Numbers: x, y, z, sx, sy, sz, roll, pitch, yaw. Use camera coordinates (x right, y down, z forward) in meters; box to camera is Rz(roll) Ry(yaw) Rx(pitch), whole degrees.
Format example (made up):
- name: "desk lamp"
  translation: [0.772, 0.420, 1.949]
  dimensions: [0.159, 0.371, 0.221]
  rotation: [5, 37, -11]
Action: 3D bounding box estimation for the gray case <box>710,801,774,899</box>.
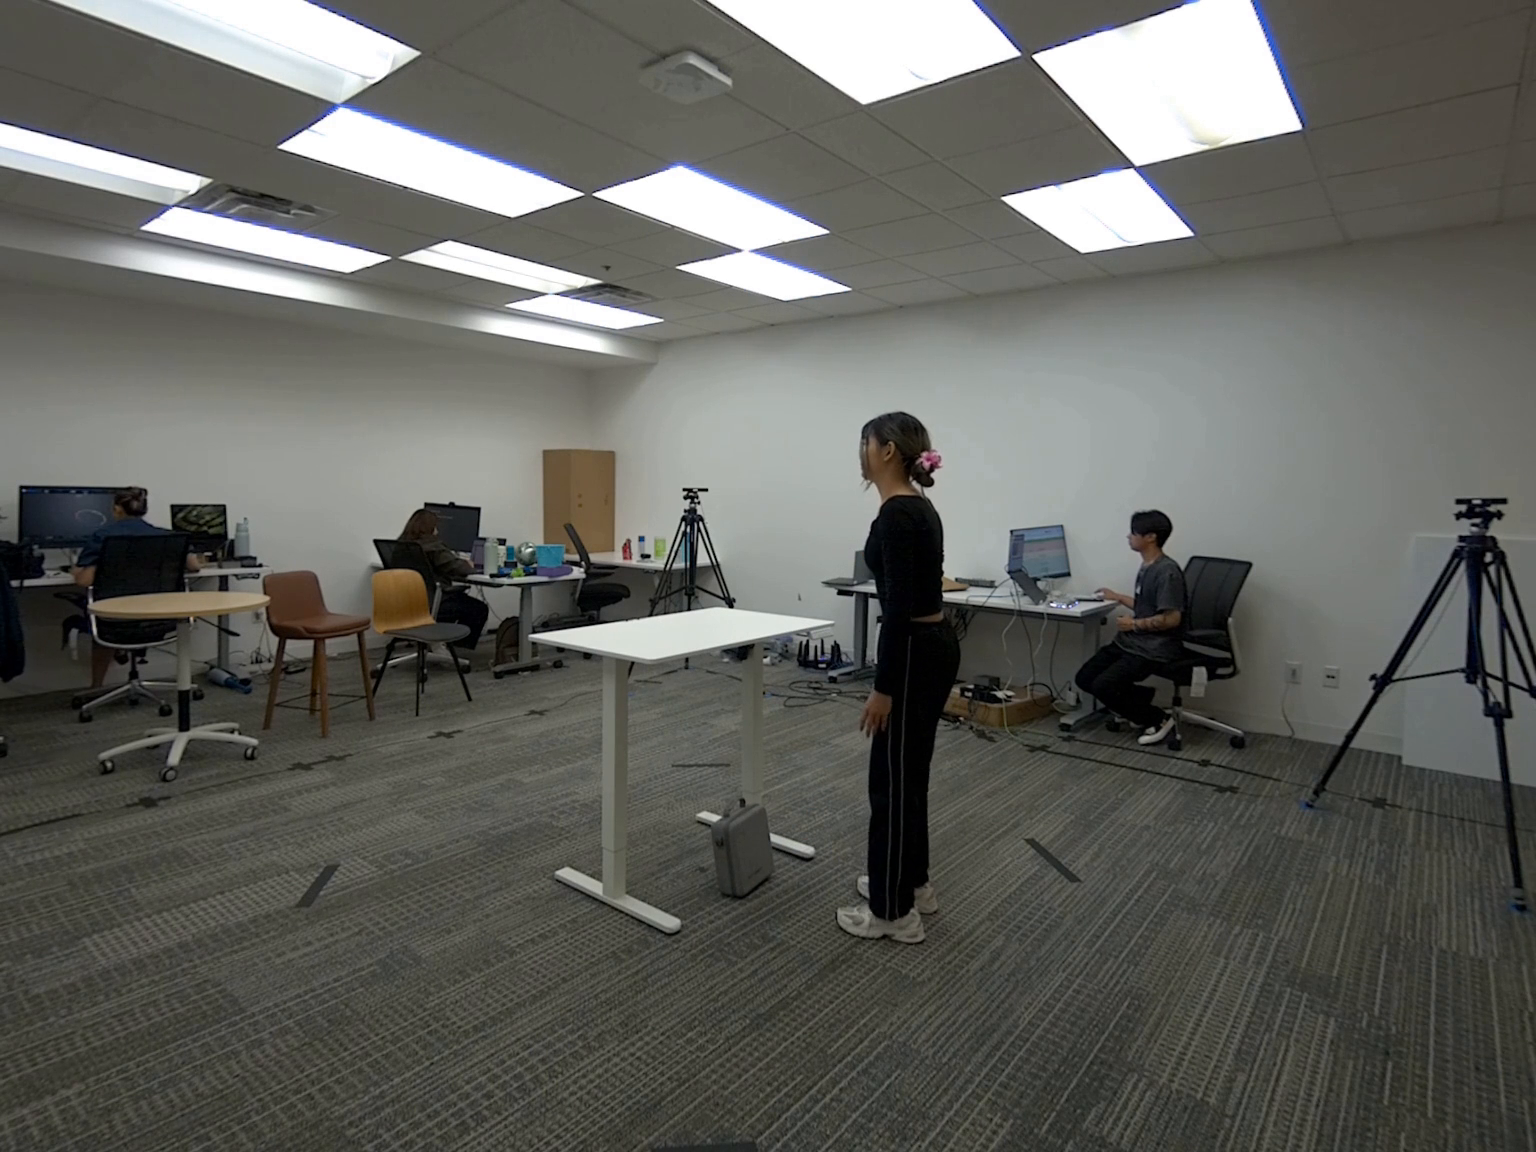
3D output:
- name: "gray case"
  translation: [-0.099, 0.949, 2.997]
  dimensions: [0.107, 0.262, 0.250]
  rotation: [-11, -3, 29]
